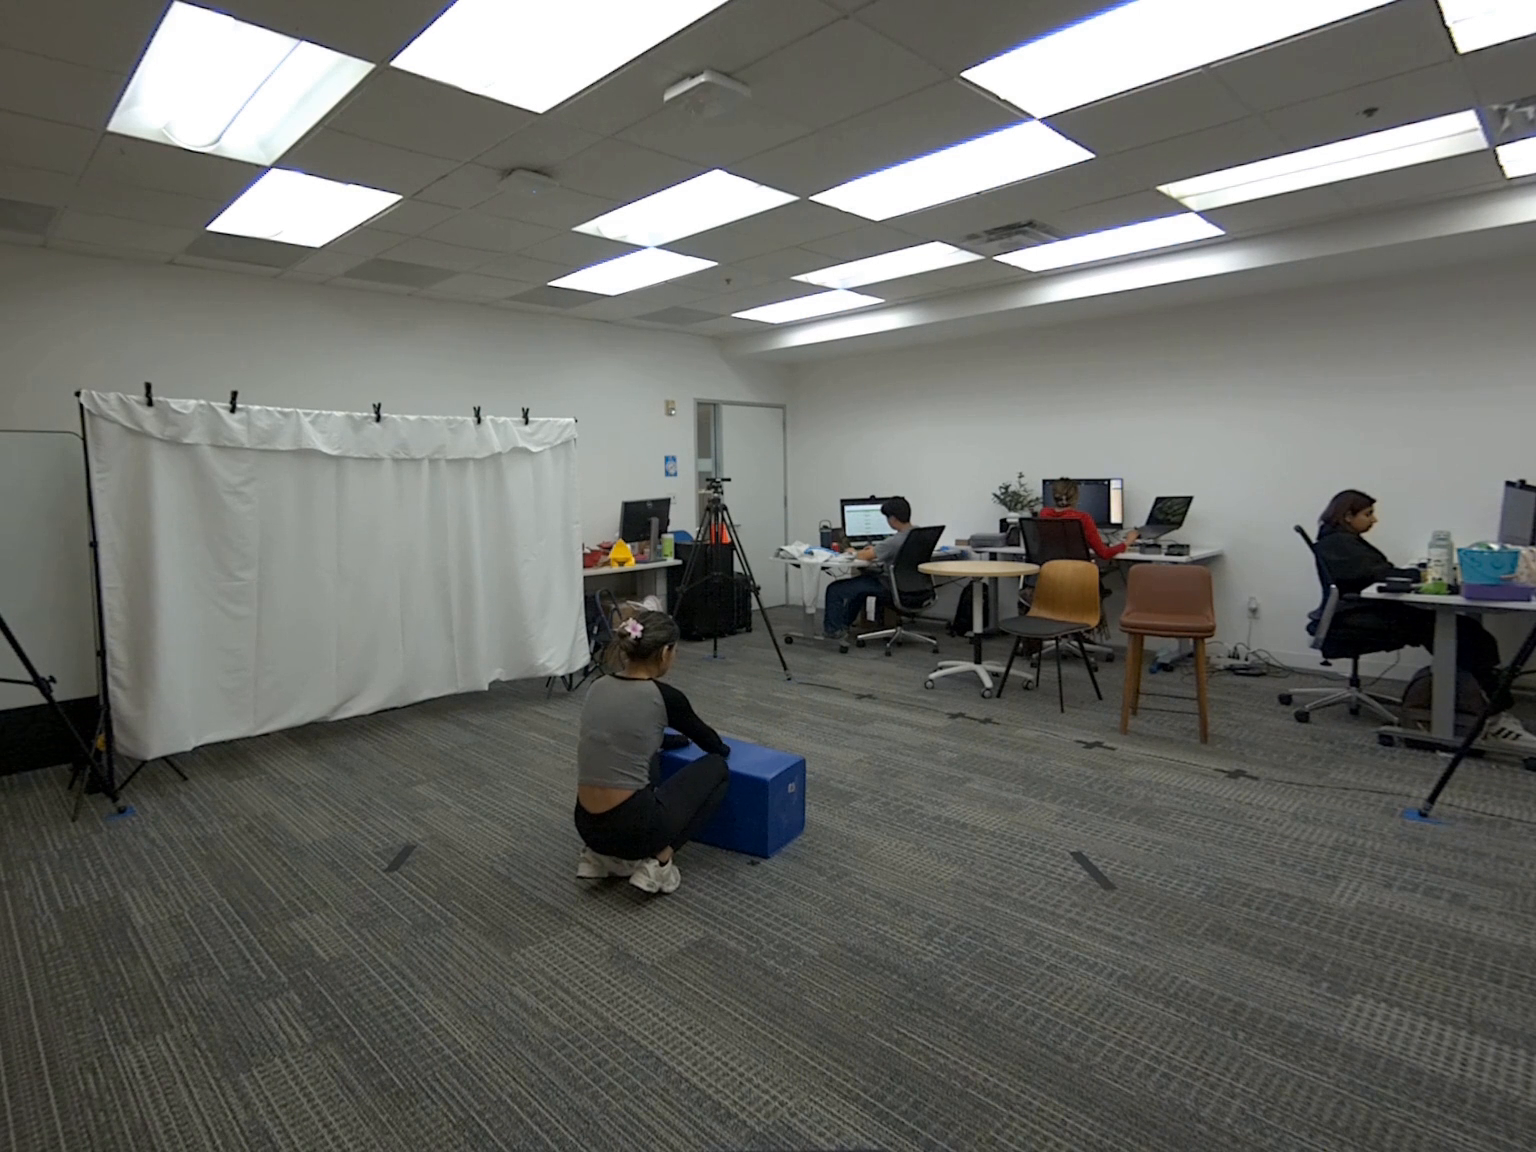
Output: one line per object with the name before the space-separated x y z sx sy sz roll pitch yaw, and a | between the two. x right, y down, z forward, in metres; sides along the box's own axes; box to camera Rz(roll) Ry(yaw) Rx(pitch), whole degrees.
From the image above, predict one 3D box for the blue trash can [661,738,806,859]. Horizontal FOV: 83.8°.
blue trash can | -0.233 0.843 3.424 0.734 0.376 0.365 5 6 31
